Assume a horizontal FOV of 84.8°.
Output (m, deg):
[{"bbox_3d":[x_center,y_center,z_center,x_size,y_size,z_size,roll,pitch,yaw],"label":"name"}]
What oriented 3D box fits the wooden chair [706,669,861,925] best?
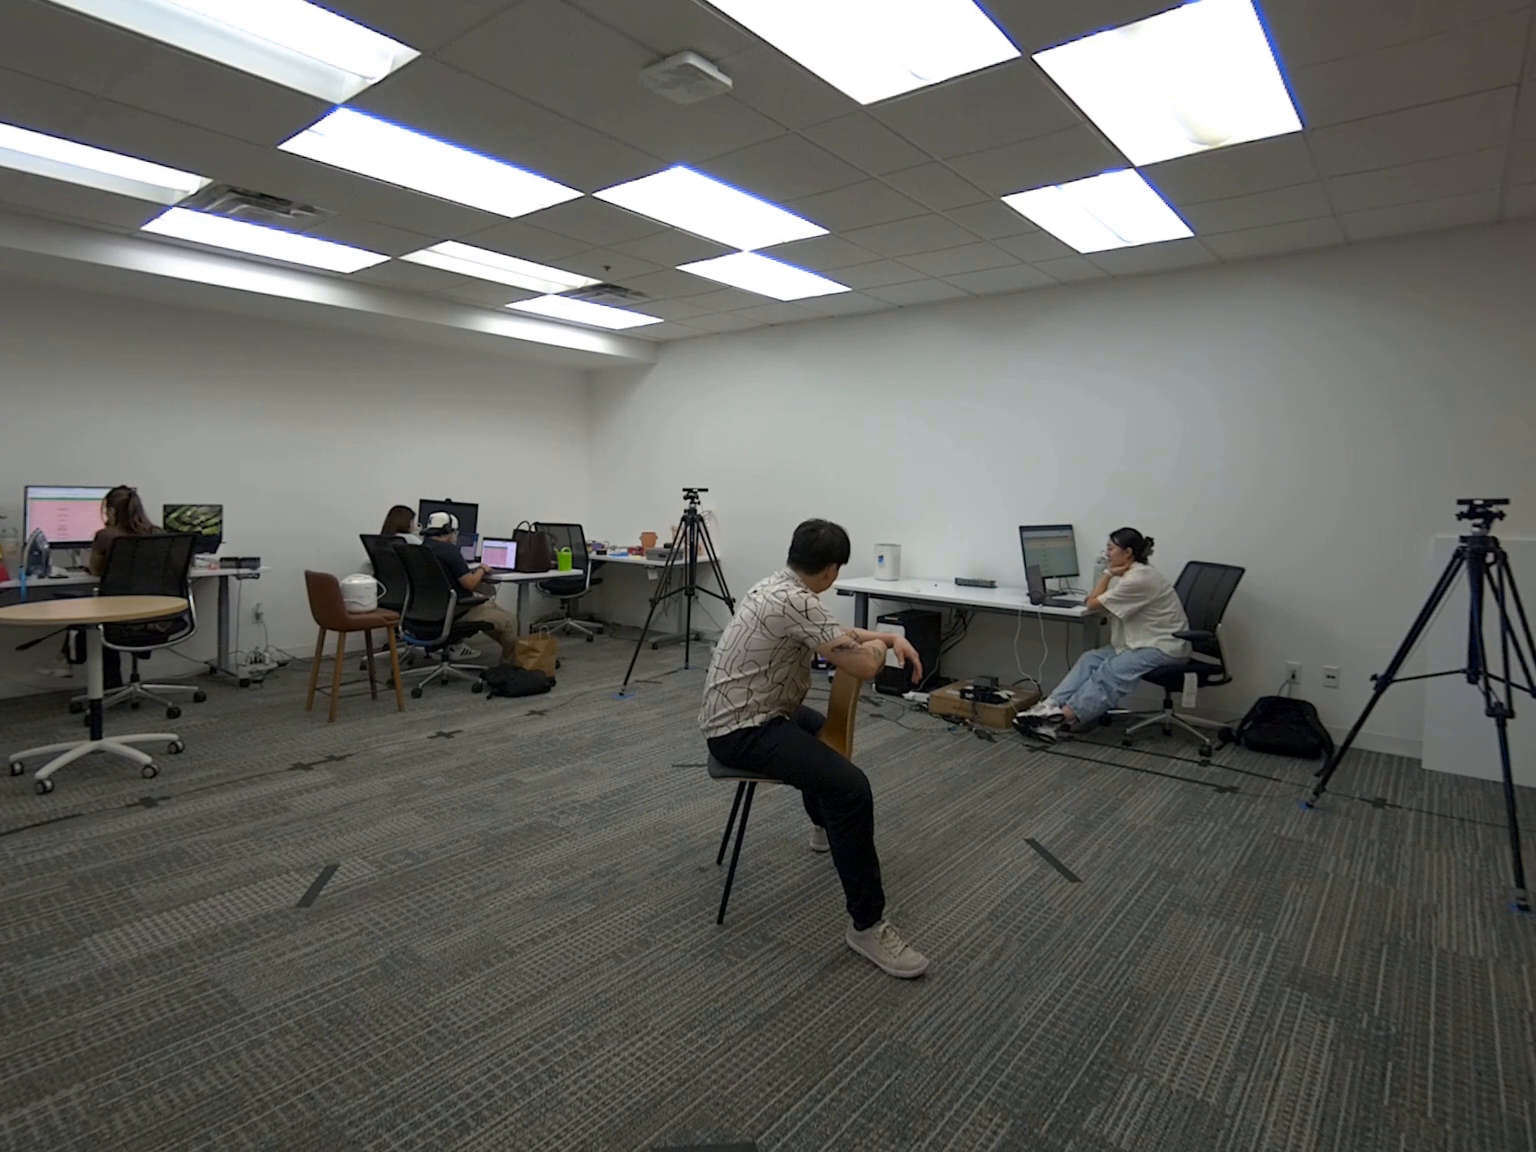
[{"bbox_3d":[0.044,0.678,2.913,0.522,0.875,0.480,6,3,-2],"label":"wooden chair"}]
